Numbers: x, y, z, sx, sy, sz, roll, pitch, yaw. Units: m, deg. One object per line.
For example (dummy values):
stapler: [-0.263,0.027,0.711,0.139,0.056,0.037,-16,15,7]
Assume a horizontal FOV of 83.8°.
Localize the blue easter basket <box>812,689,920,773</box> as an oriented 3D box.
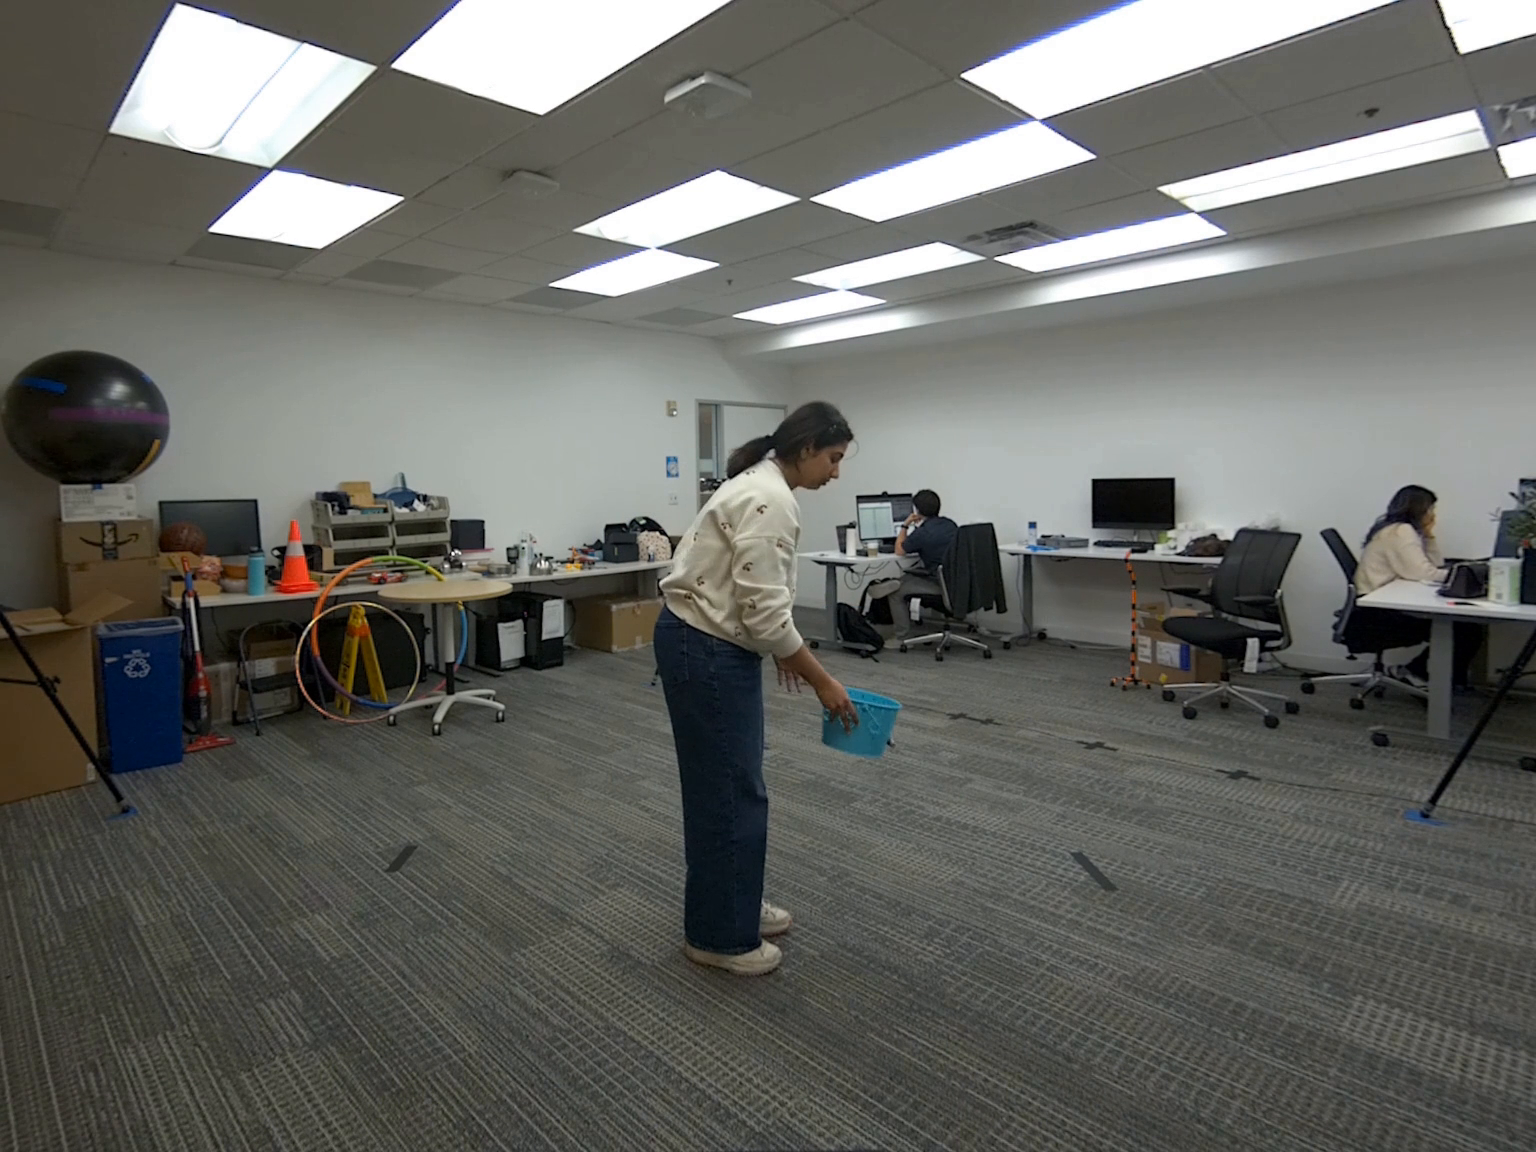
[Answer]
blue easter basket: [0.272,0.430,2.458,0.243,0.156,0.244,11,2,-2]
